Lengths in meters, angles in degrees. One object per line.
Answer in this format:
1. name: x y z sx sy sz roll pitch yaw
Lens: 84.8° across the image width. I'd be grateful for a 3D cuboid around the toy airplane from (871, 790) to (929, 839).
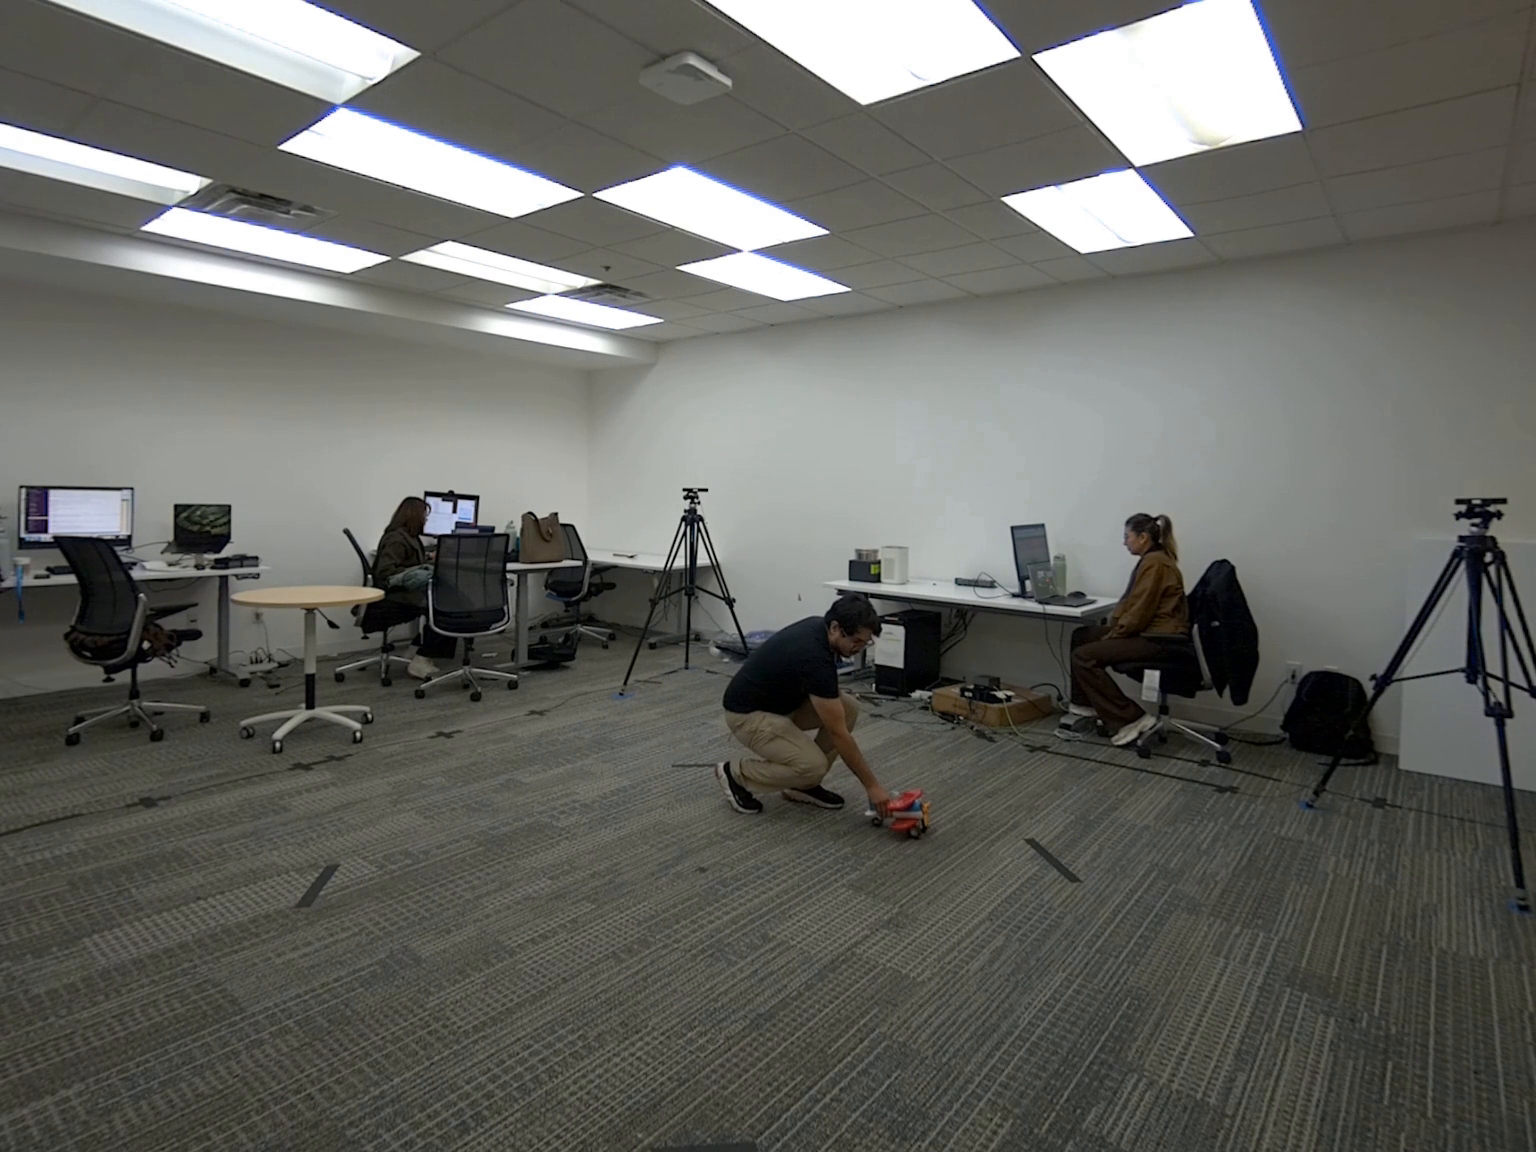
1. toy airplane: 0.527 0.973 3.503 0.260 0.156 0.251 2 5 3
